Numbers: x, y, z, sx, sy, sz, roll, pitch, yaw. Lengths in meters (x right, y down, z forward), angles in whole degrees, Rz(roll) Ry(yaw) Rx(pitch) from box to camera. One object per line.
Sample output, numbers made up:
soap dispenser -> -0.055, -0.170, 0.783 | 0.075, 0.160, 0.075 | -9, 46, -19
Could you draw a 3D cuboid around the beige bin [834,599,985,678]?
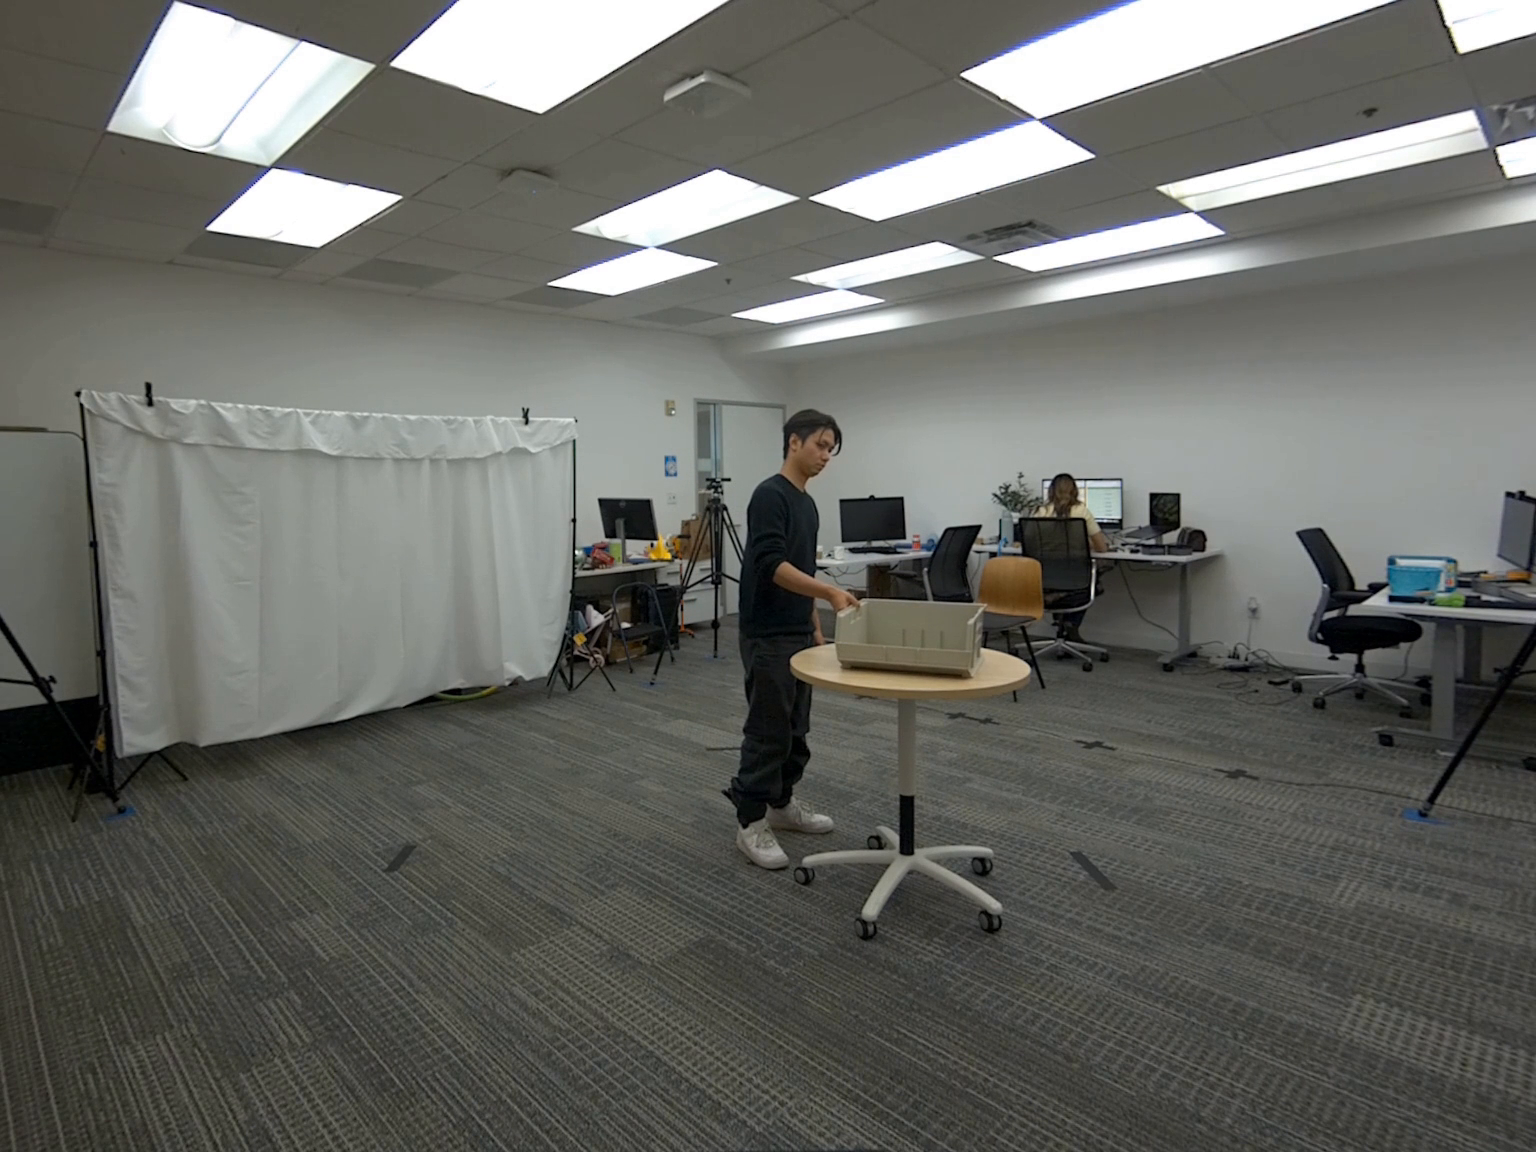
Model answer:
beige bin -> 0.473, 0.201, 2.772 | 0.431, 0.188, 0.371 | 1, 5, 22
